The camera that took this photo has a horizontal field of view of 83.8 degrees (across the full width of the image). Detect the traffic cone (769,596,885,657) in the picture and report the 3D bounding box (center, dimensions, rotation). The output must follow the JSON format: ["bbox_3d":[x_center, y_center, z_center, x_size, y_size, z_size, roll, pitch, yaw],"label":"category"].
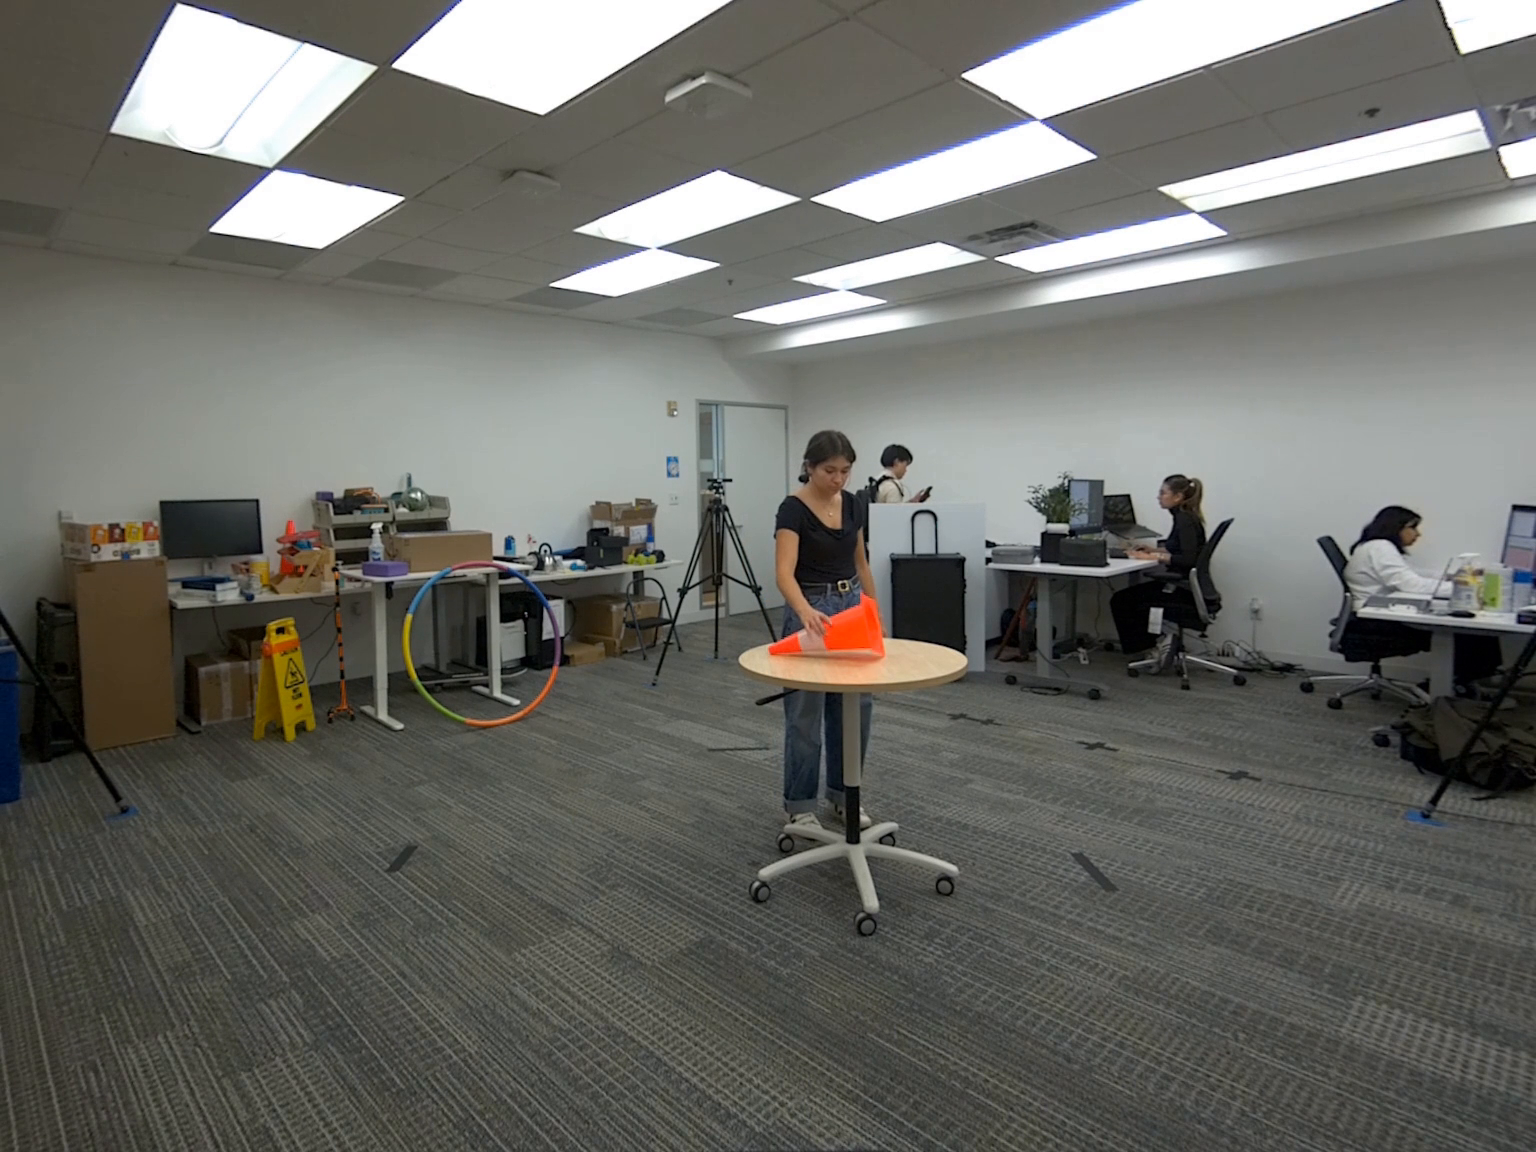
[{"bbox_3d":[0.184,0.222,2.939,0.388,0.209,0.197,-18,-21,19],"label":"traffic cone"}]
